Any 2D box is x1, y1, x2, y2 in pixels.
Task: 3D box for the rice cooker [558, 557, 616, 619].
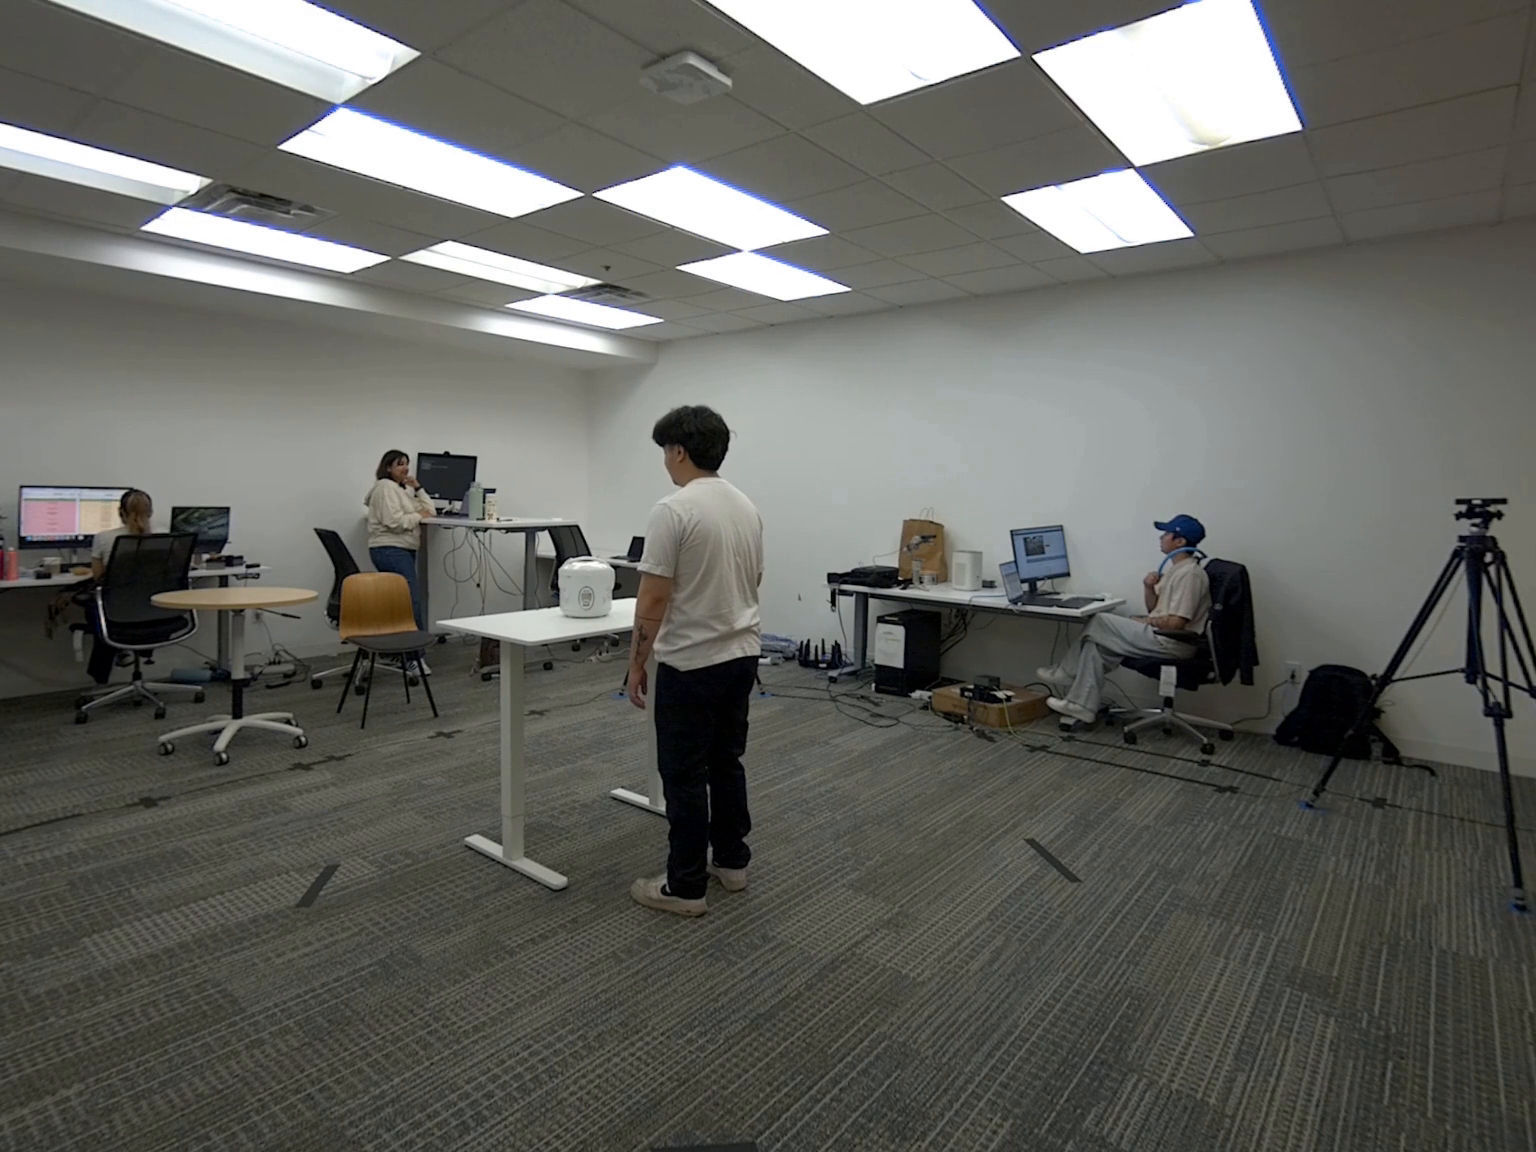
[{"bbox_3d":[-0.730,0.038,3.366,0.218,0.232,0.220,-1,4,-10],"label":"rice cooker"}]
